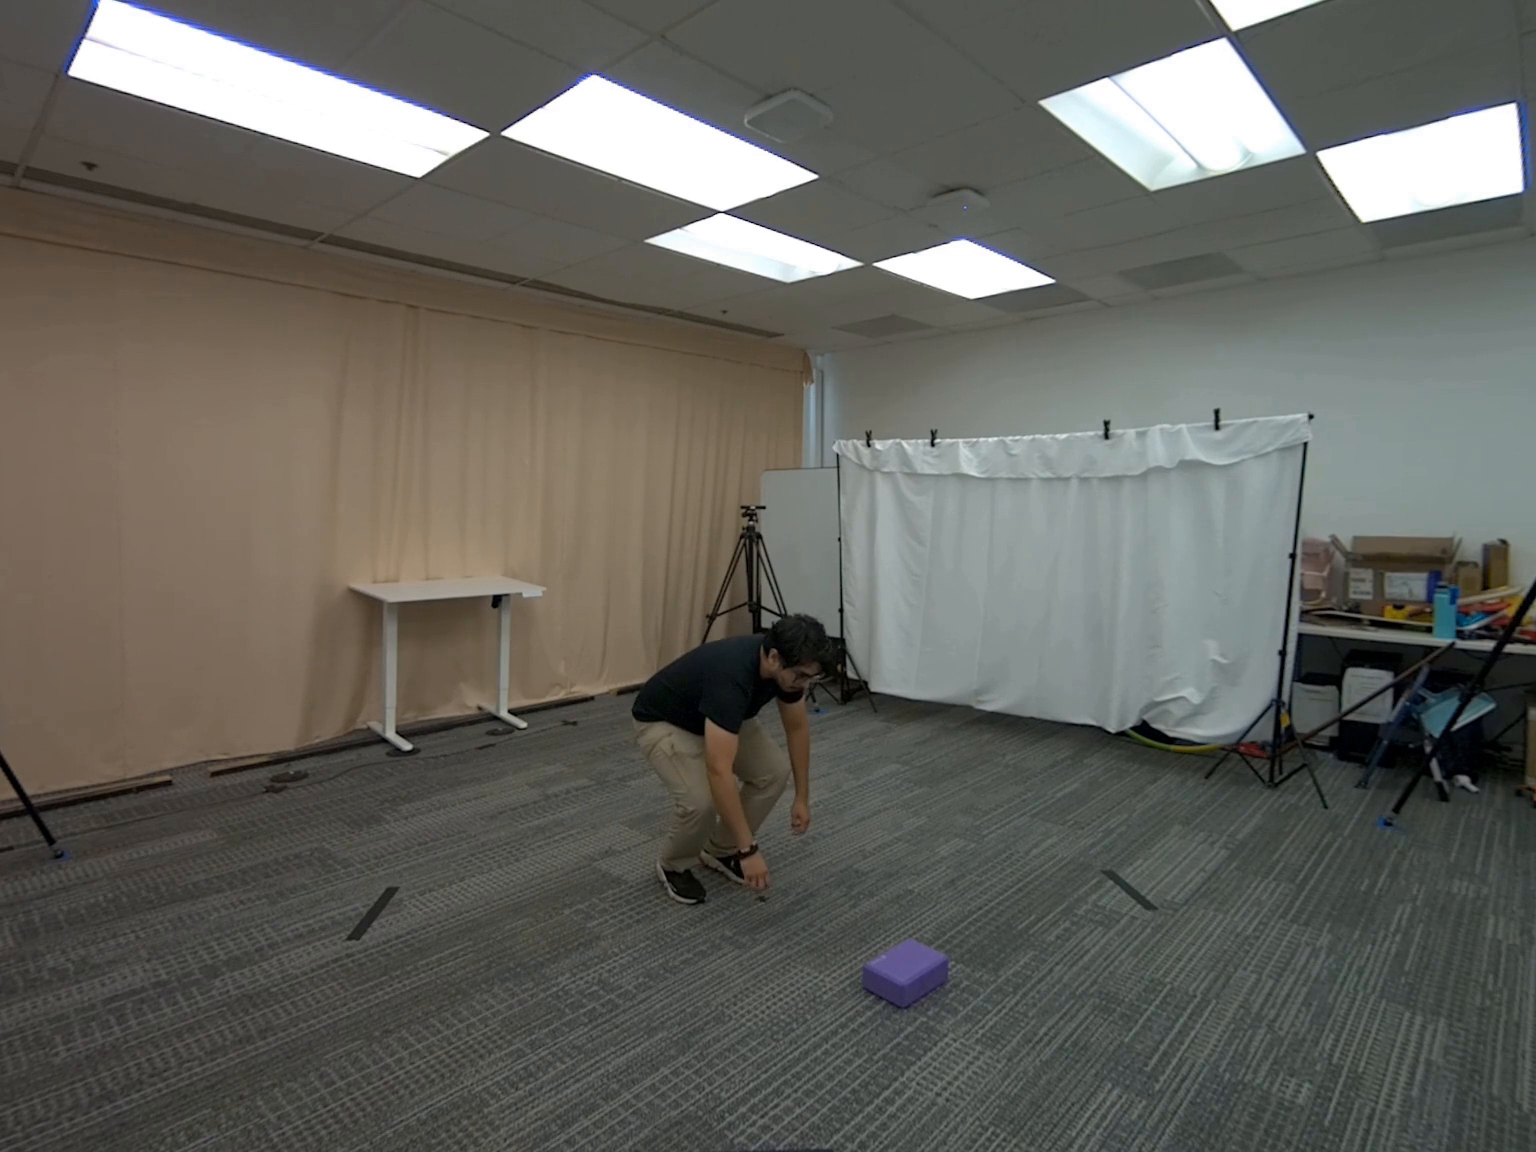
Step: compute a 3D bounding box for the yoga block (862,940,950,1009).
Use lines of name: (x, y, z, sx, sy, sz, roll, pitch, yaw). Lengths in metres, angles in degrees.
yoga block: (0.405, 1.150, 2.441, 0.222, 0.076, 0.154, -4, 7, -43)
